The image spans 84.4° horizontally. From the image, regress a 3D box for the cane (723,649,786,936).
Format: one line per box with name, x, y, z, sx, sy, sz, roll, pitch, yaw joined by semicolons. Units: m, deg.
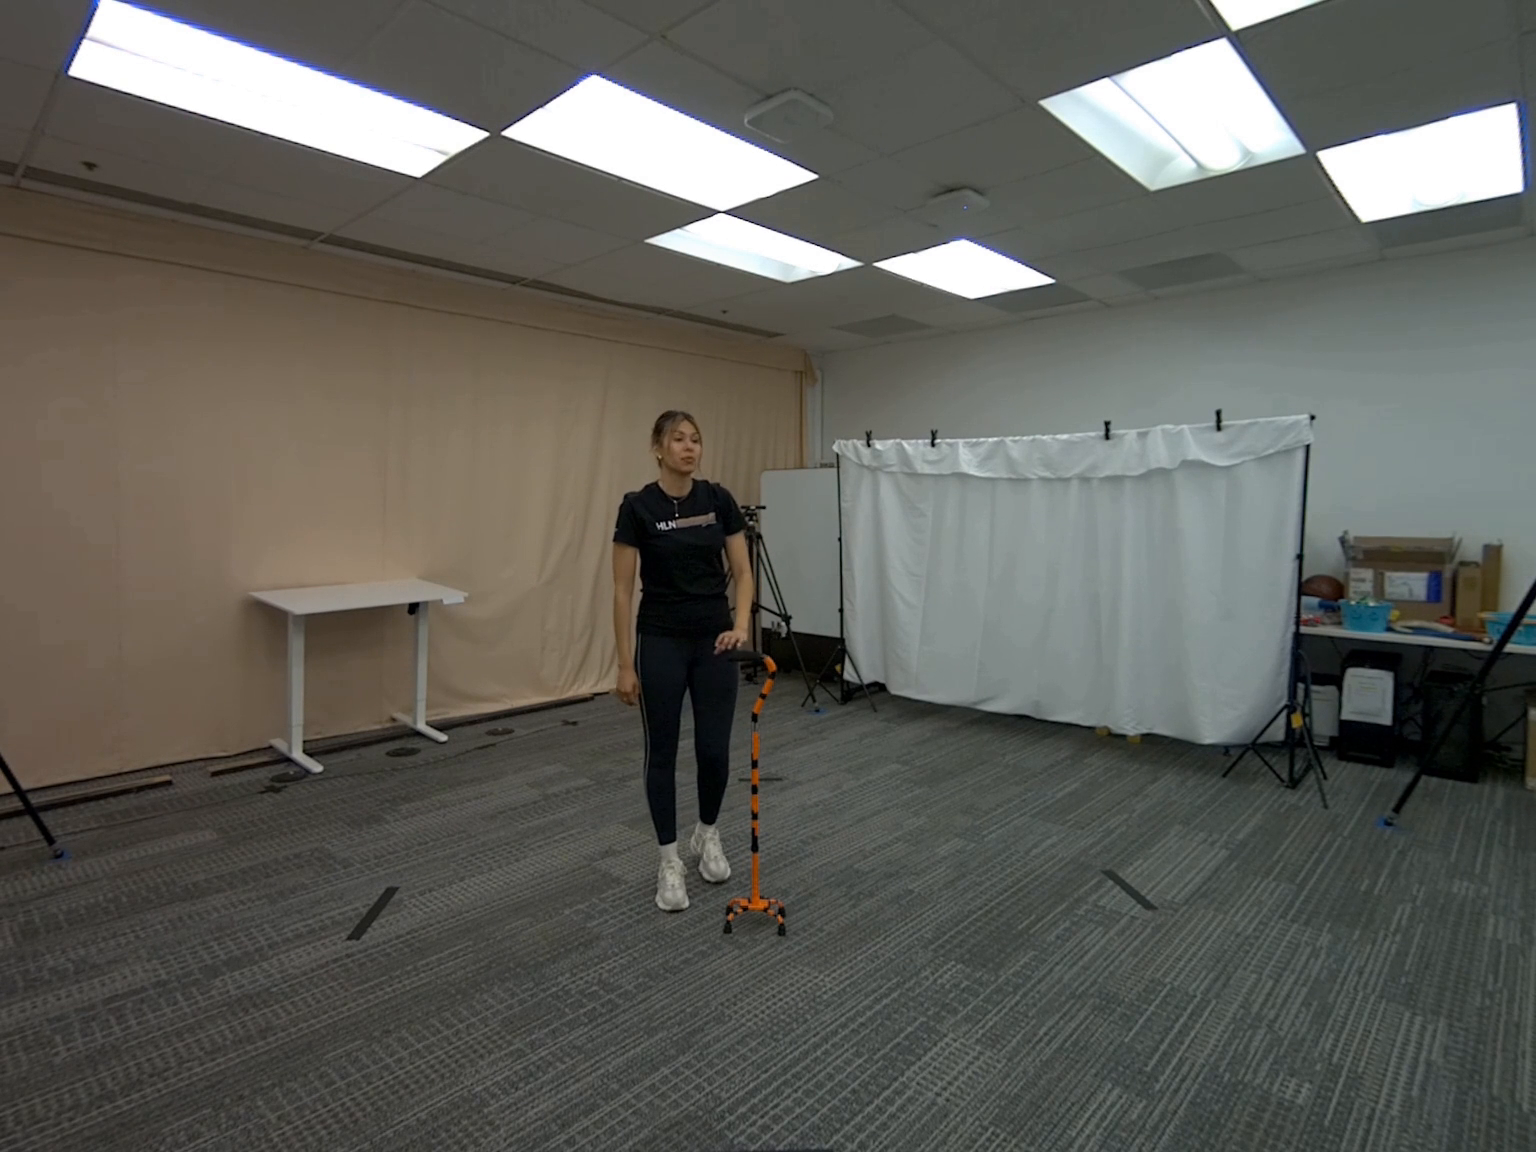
cane;-0.042;0.706;2.782;0.207;0.906;0.151;0;2;1
